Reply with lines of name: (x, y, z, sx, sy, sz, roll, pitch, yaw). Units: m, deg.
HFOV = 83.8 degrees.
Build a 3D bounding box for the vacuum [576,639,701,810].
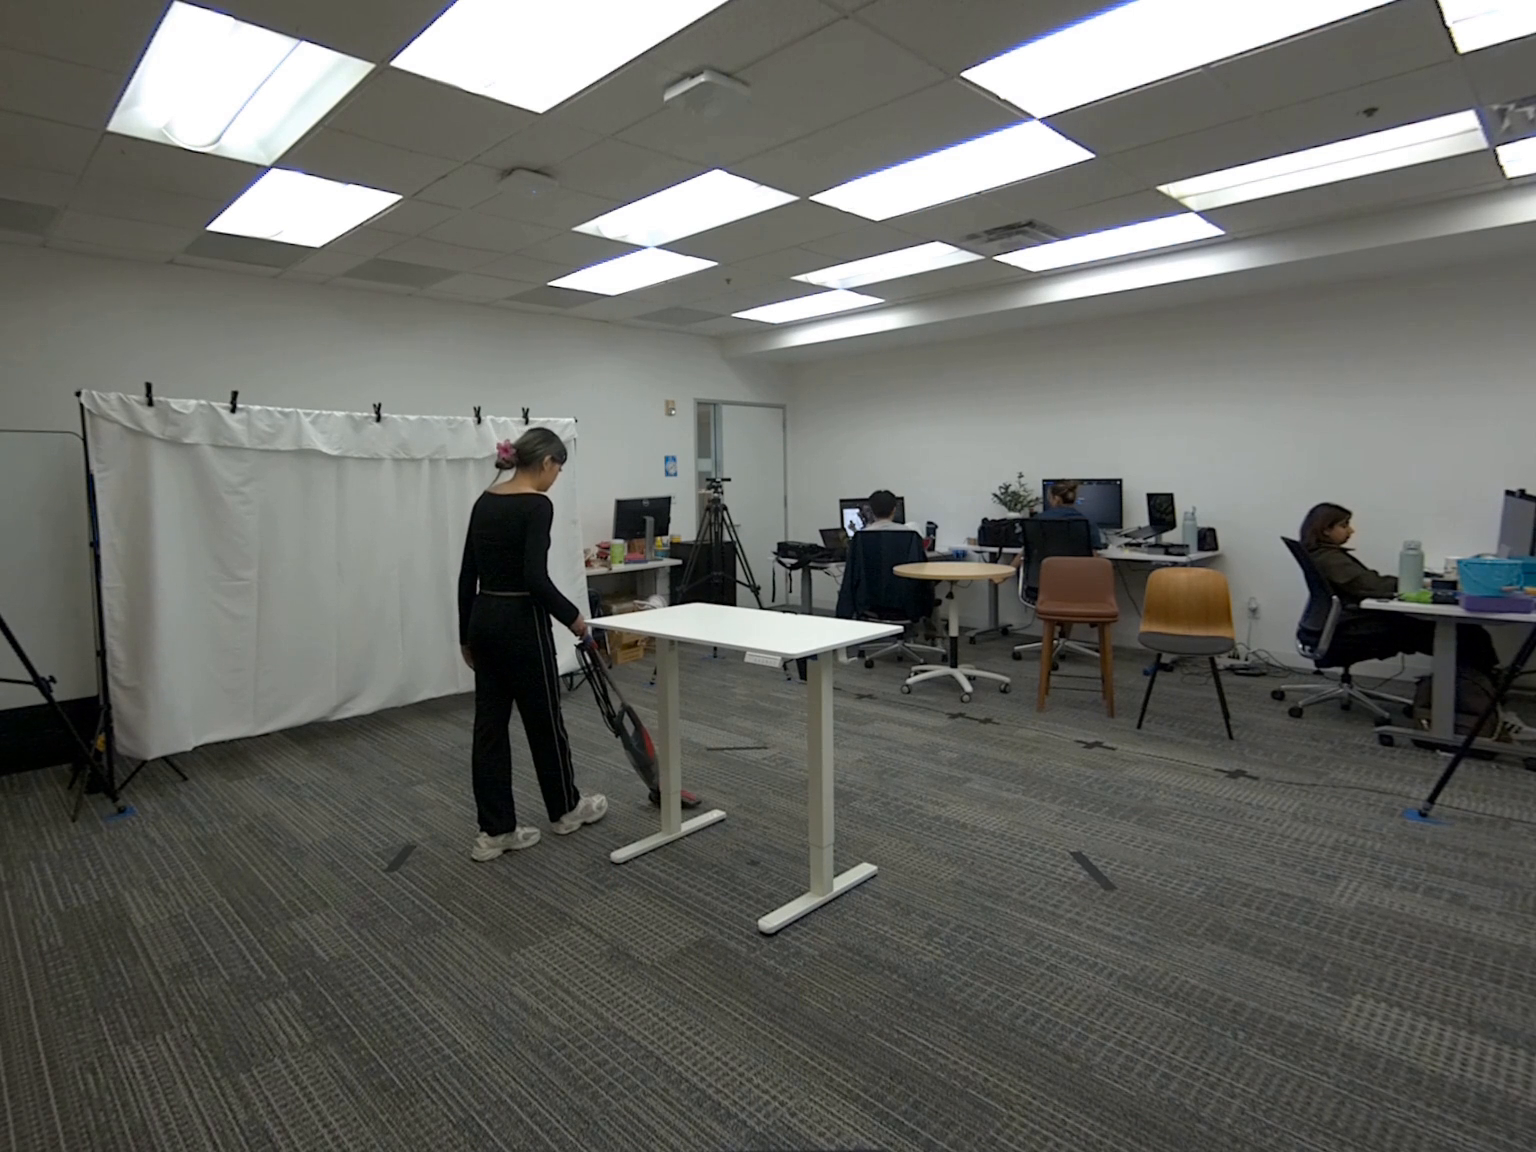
vacuum: (-0.604, 0.561, 3.484, 0.260, 1.020, 0.144, 3, 37, 45)
